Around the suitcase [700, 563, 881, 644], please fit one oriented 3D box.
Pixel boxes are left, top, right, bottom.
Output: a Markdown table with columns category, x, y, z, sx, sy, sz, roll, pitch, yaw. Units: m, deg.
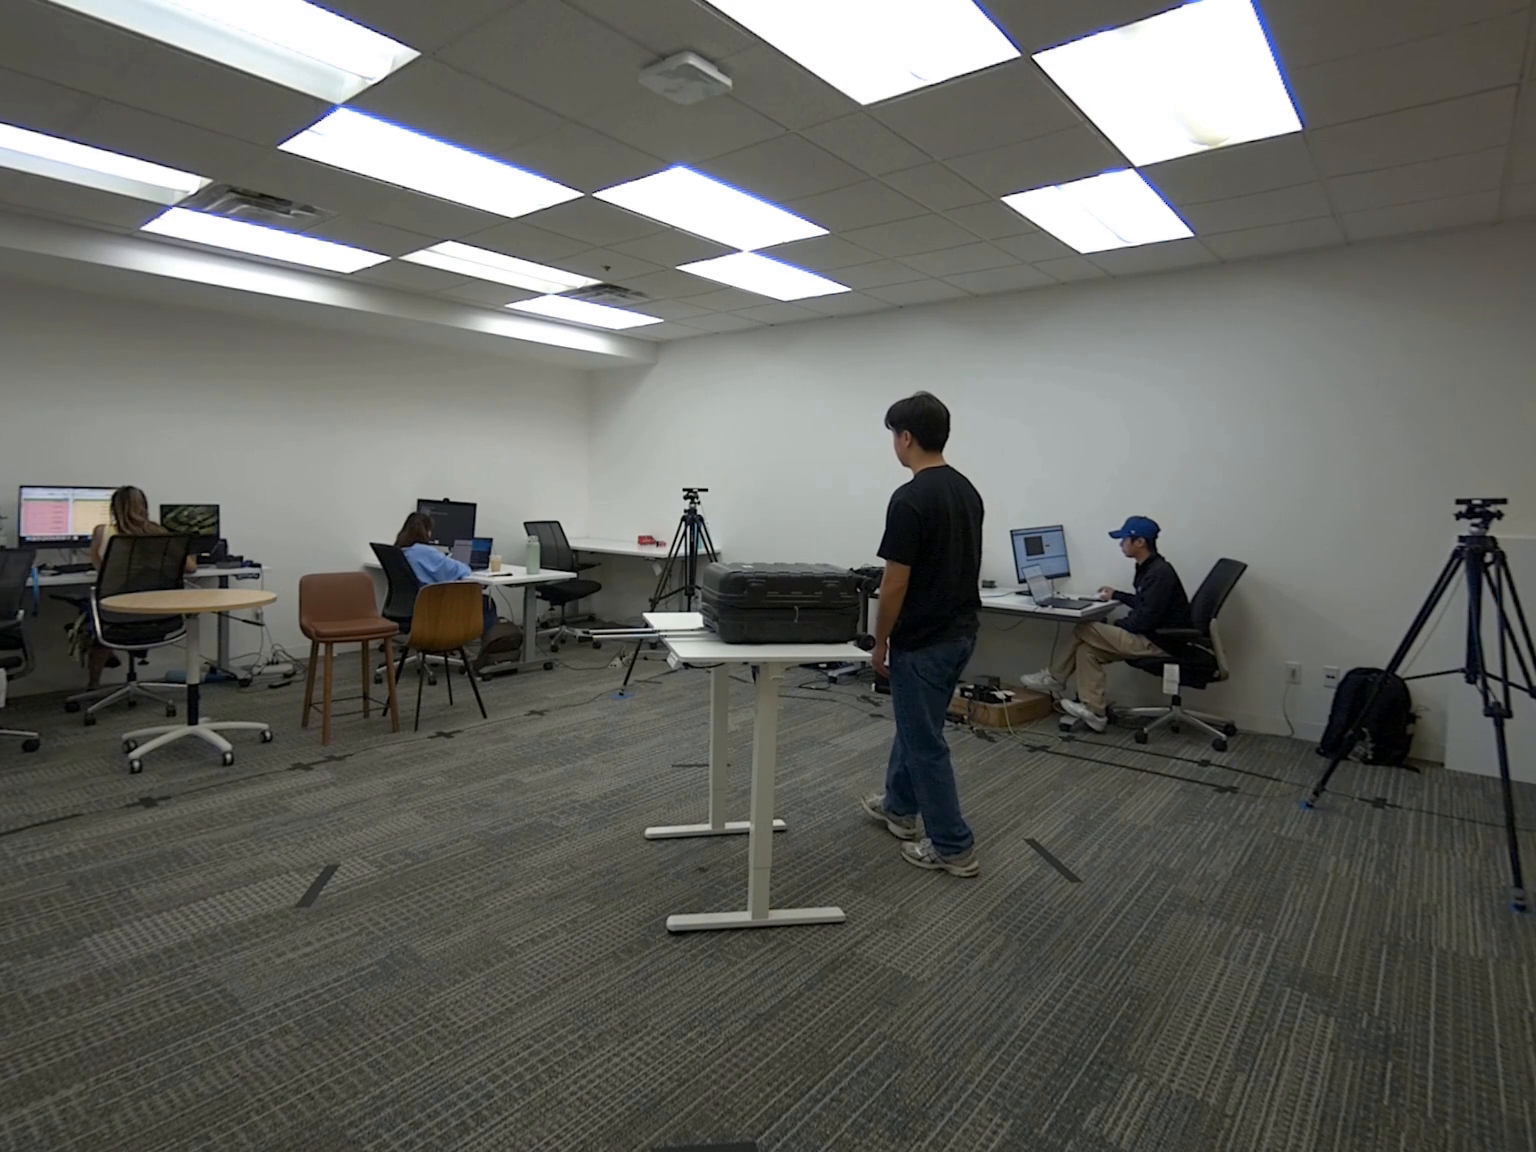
| category | x | y | z | sx | sy | sz | roll | pitch | yaw |
| --- | --- | --- | --- | --- | --- | --- | --- | --- | --- |
| suitcase | -0.154 | 0.079 | 2.890 | 0.964 | 0.256 | 0.391 | 2 | 5 | -14 |
